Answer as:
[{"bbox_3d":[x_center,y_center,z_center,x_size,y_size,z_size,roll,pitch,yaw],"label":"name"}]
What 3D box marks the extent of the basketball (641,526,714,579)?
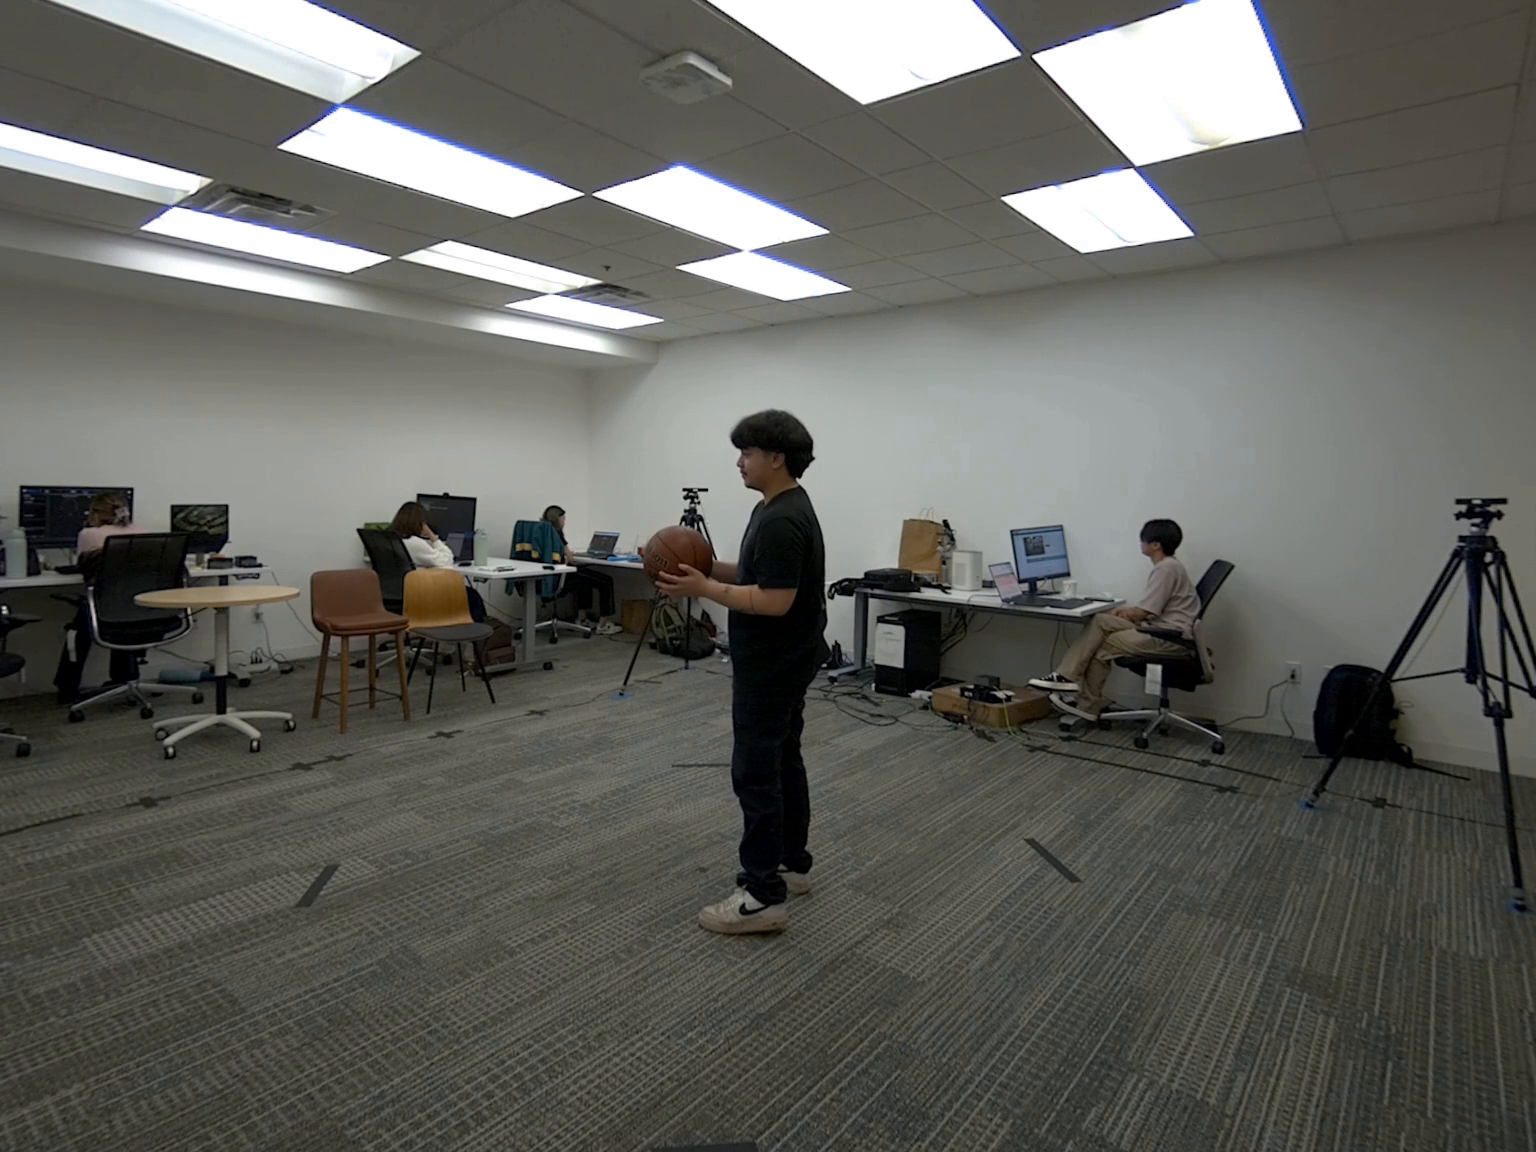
[{"bbox_3d":[-0.313,-0.056,2.894,0.235,0.235,0.237,1,4,-2],"label":"basketball"}]
